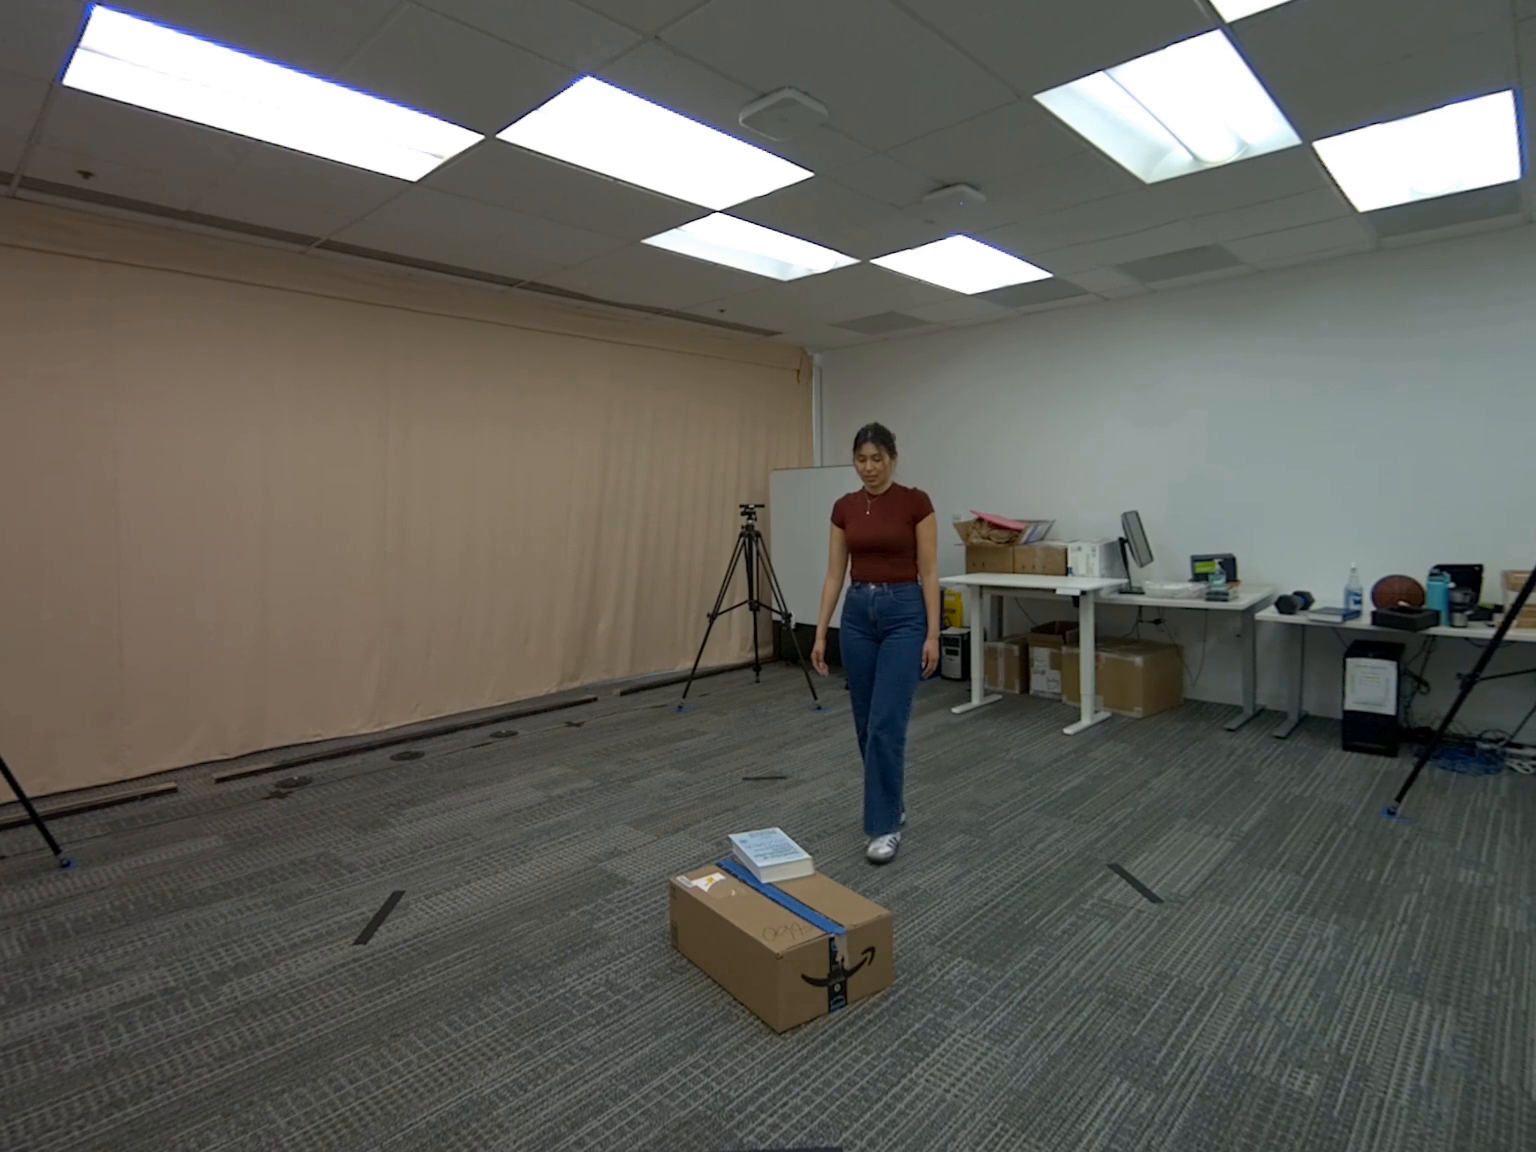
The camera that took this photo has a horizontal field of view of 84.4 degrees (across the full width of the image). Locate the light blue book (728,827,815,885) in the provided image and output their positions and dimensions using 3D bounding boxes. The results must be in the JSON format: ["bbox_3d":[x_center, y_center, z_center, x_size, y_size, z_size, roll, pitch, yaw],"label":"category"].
[{"bbox_3d":[0.011,0.902,2.764,0.187,0.059,0.267,-3,6,-23],"label":"light blue book"}]
